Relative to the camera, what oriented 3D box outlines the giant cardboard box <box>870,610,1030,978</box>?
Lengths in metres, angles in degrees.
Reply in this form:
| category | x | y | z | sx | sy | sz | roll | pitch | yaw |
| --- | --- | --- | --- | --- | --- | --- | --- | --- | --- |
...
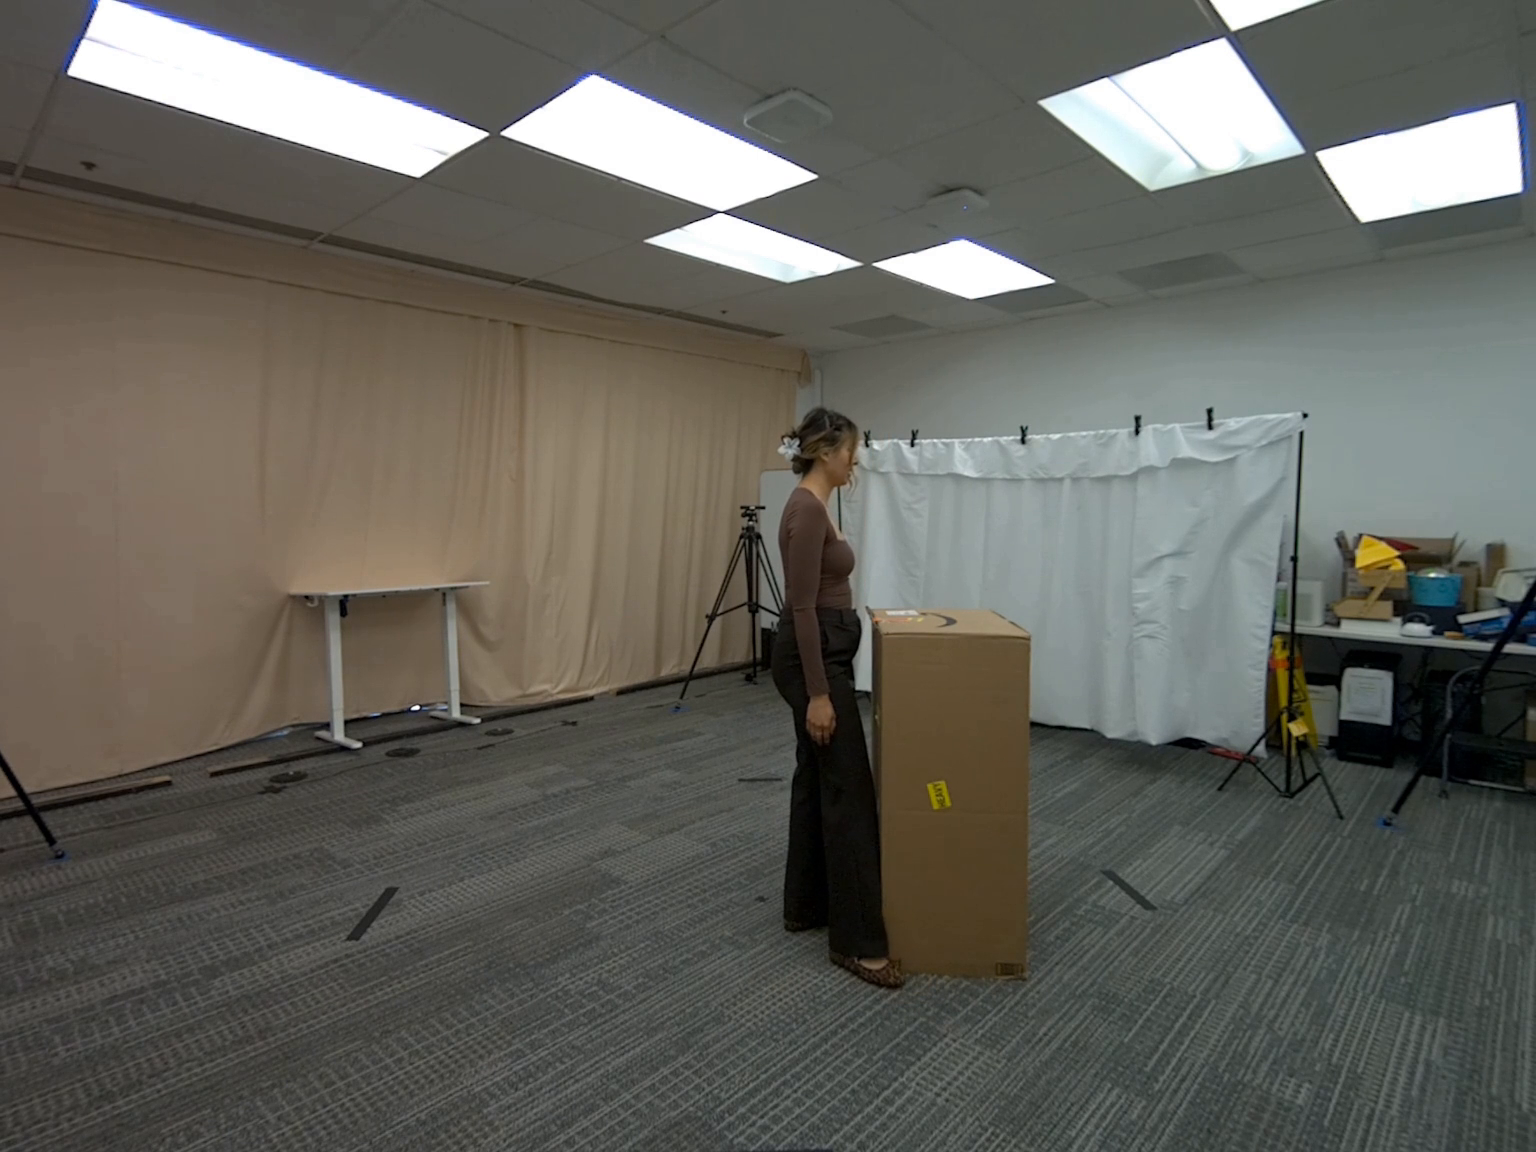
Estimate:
| category | x | y | z | sx | sy | sz | roll | pitch | yaw |
| --- | --- | --- | --- | --- | --- | --- | --- | --- | --- |
| giant cardboard box | 0.568 | 0.649 | 2.747 | 0.450 | 1.025 | 0.581 | 0 | 3 | 6 |
